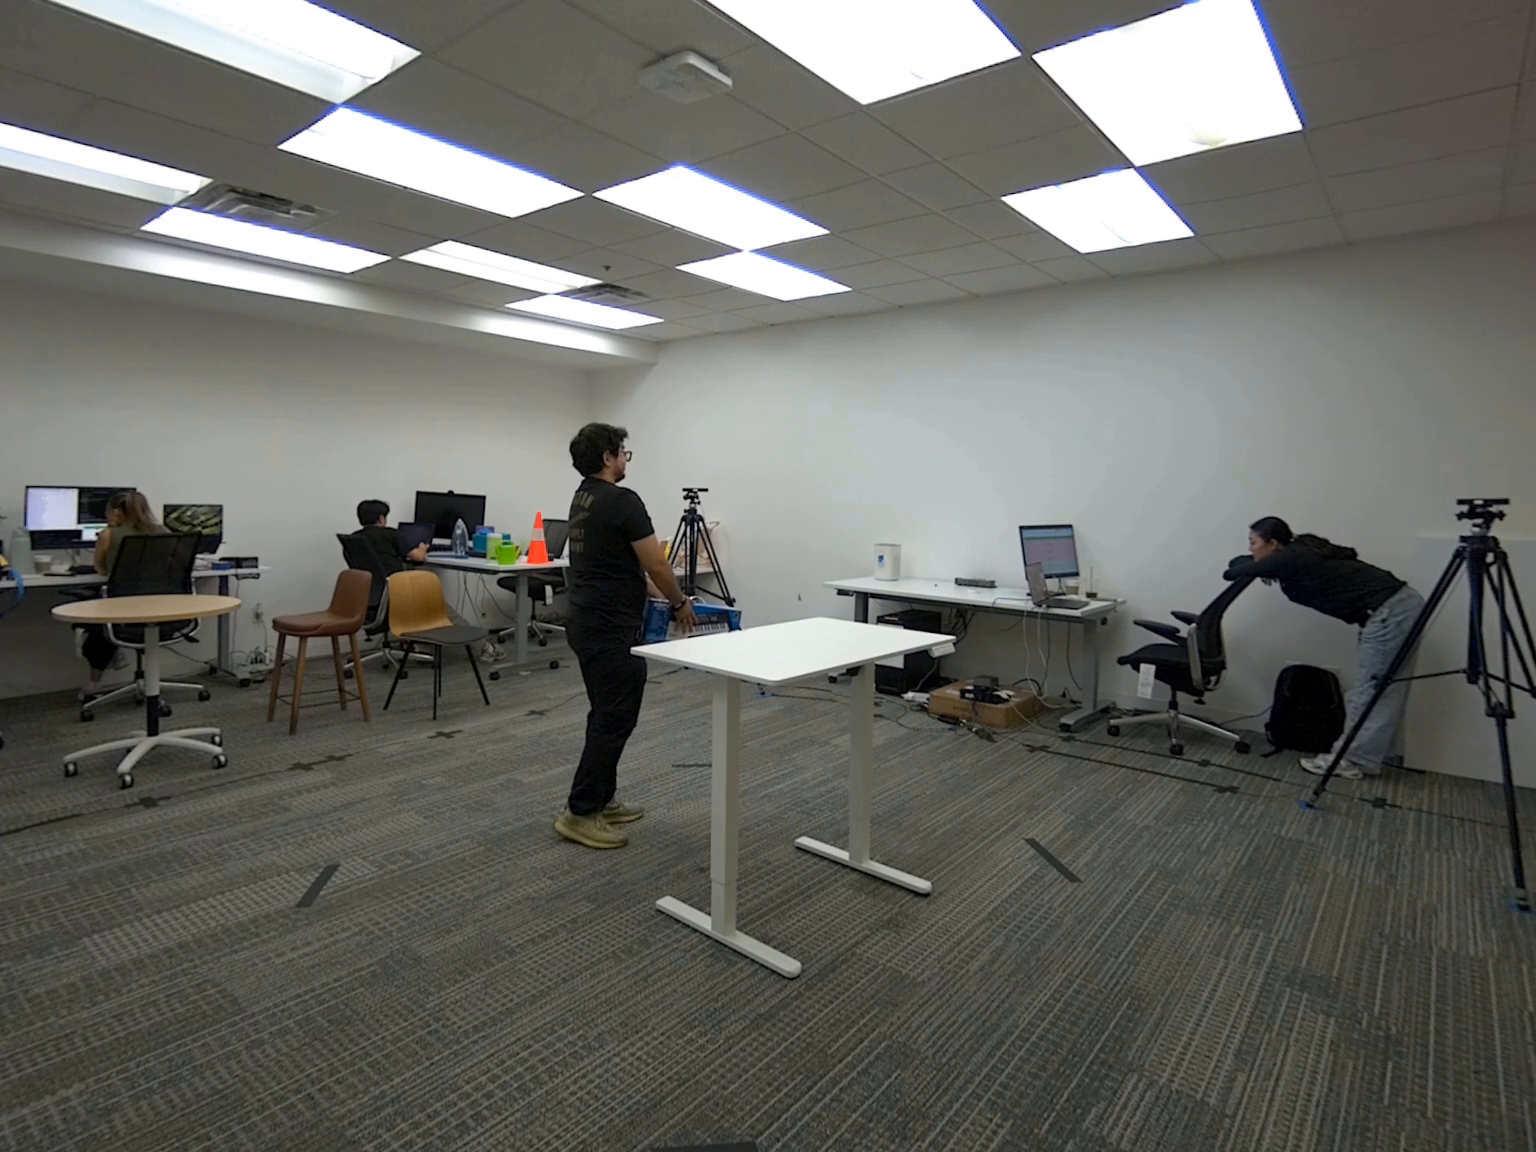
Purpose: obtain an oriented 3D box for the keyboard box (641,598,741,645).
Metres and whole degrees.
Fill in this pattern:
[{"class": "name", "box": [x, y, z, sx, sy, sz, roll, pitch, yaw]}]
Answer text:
[{"class": "keyboard box", "box": [-0.342, 0.205, 3.623, 0.424, 0.175, 0.061, 8, 3, -30]}]
